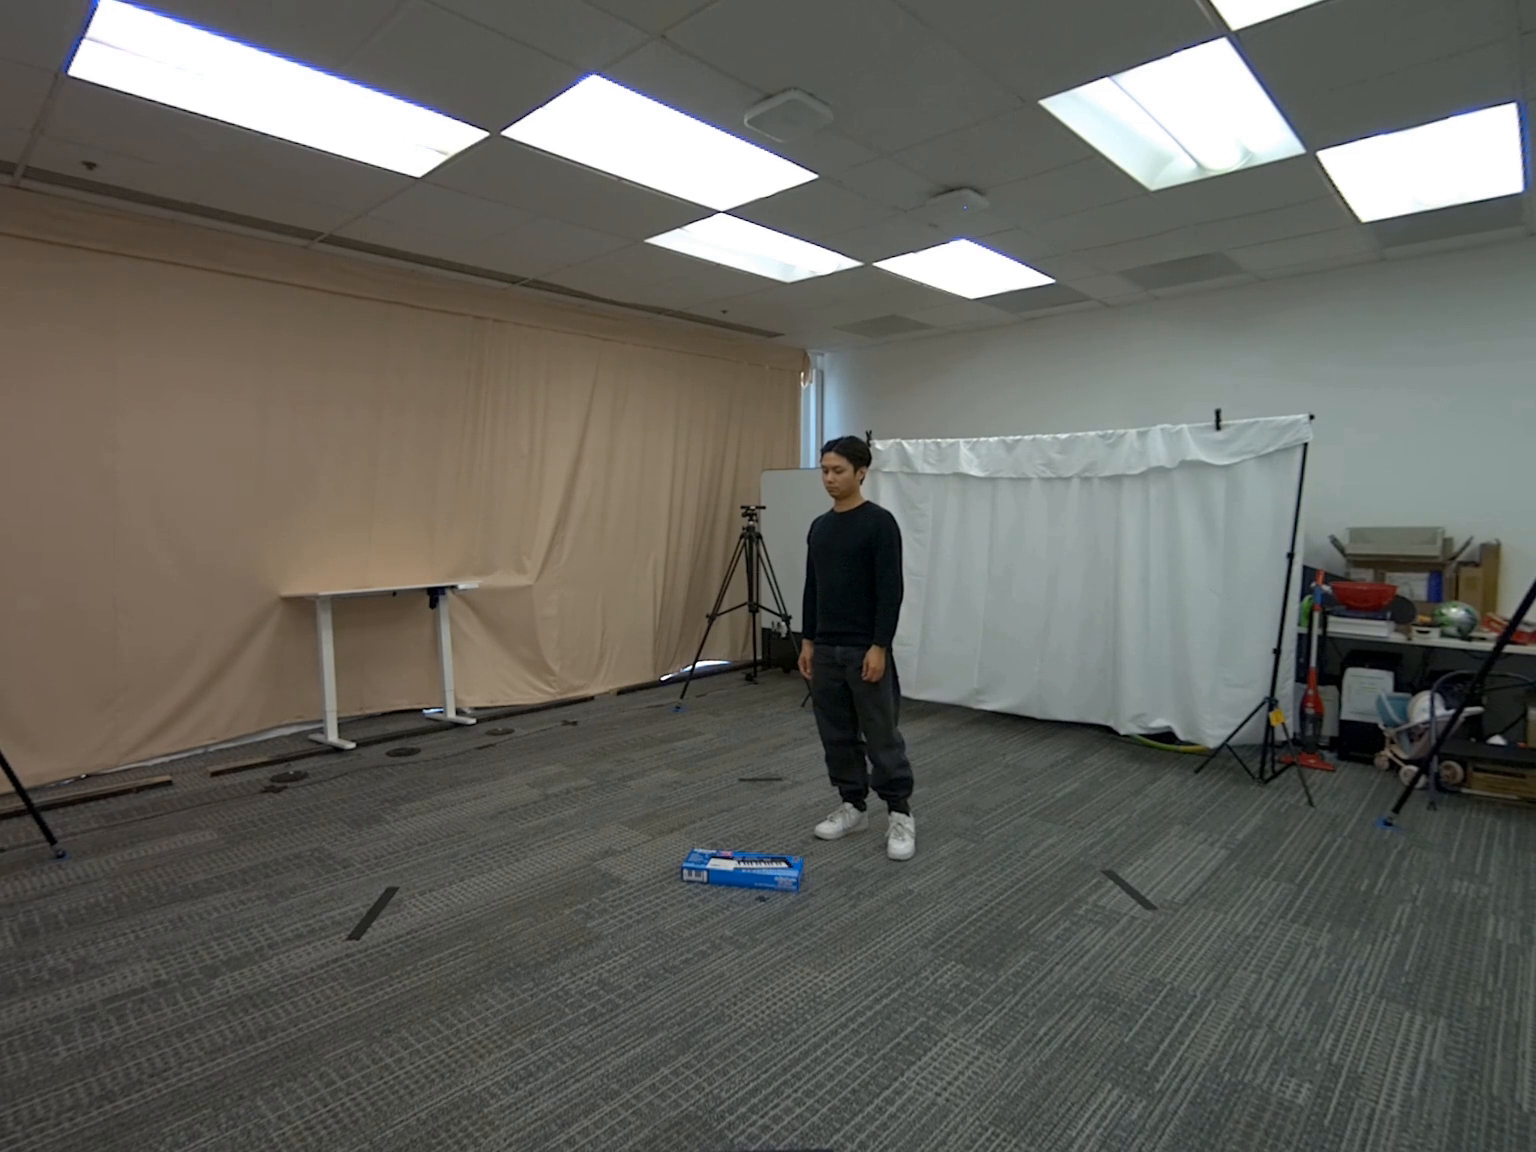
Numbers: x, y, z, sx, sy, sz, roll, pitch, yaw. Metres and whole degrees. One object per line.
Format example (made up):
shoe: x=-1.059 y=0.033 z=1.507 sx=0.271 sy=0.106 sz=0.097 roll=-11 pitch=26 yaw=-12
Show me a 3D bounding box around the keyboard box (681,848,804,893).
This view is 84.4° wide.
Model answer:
keyboard box: x=-0.090 y=1.098 z=3.153 sx=0.443 sy=0.059 sz=0.174 roll=0 pitch=5 yaw=12
